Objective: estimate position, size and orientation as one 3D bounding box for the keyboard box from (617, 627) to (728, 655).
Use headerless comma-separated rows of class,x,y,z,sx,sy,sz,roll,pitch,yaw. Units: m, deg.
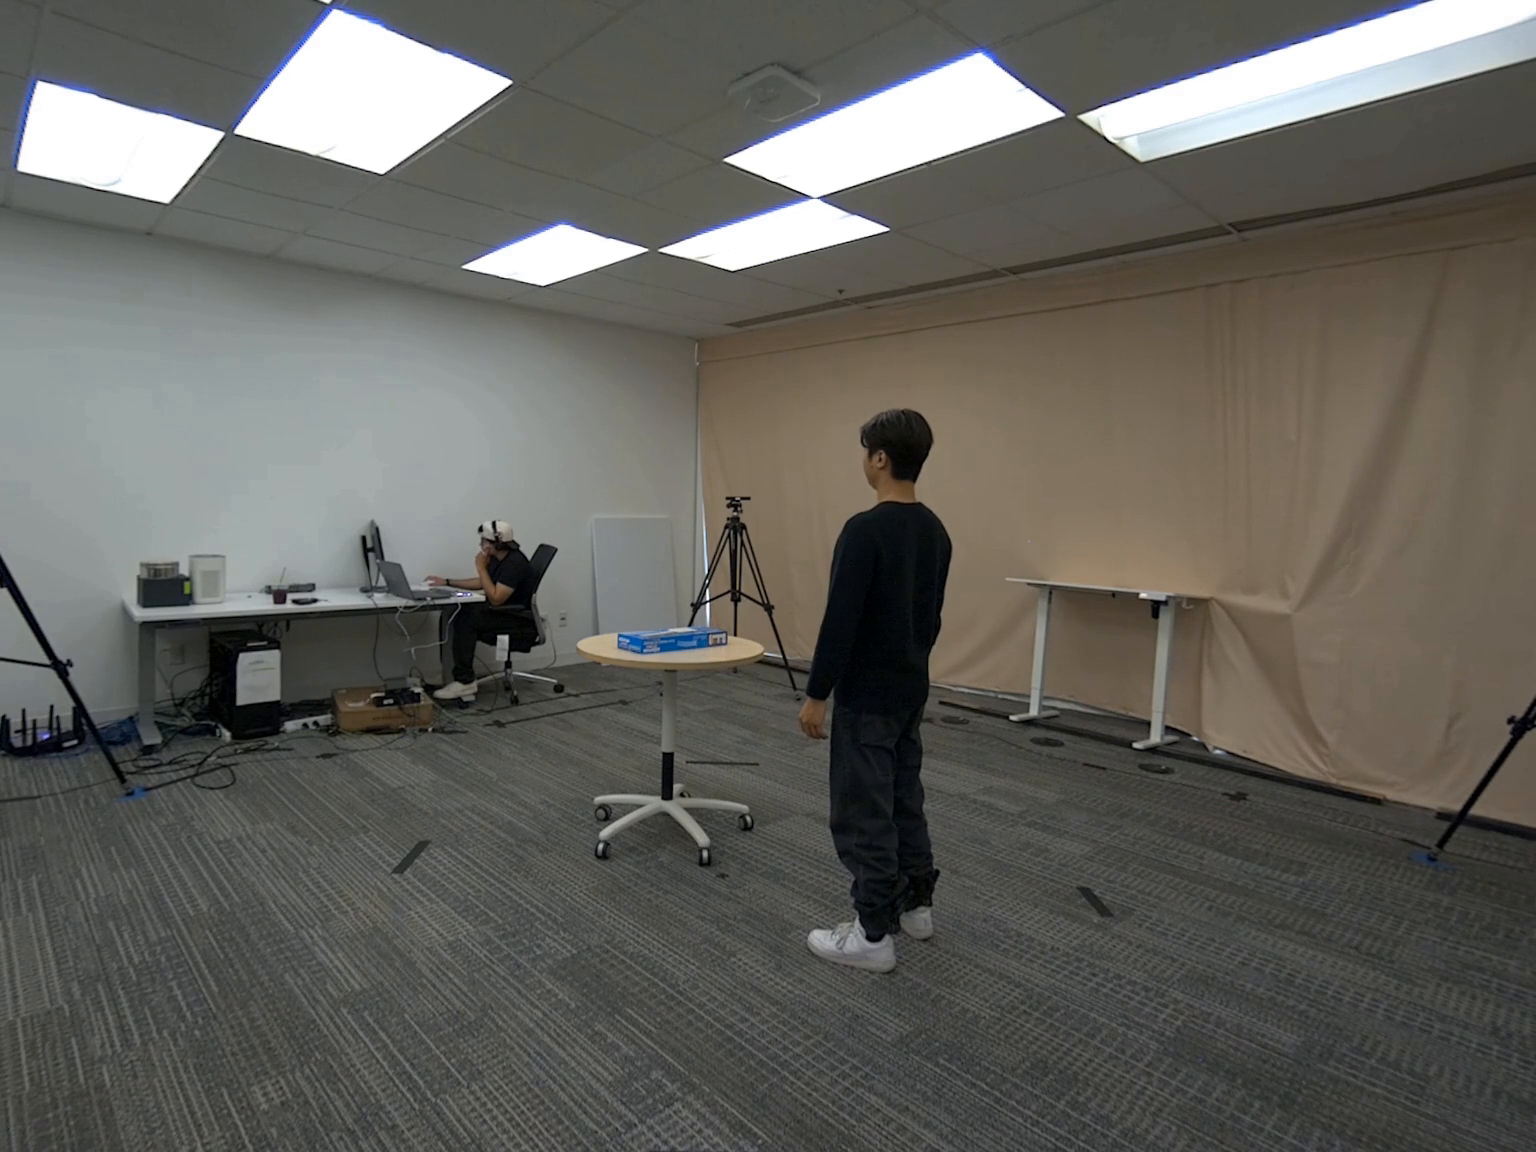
keyboard box,-0.390,0.258,3.435,0.427,0.059,0.180,-2,6,-43
